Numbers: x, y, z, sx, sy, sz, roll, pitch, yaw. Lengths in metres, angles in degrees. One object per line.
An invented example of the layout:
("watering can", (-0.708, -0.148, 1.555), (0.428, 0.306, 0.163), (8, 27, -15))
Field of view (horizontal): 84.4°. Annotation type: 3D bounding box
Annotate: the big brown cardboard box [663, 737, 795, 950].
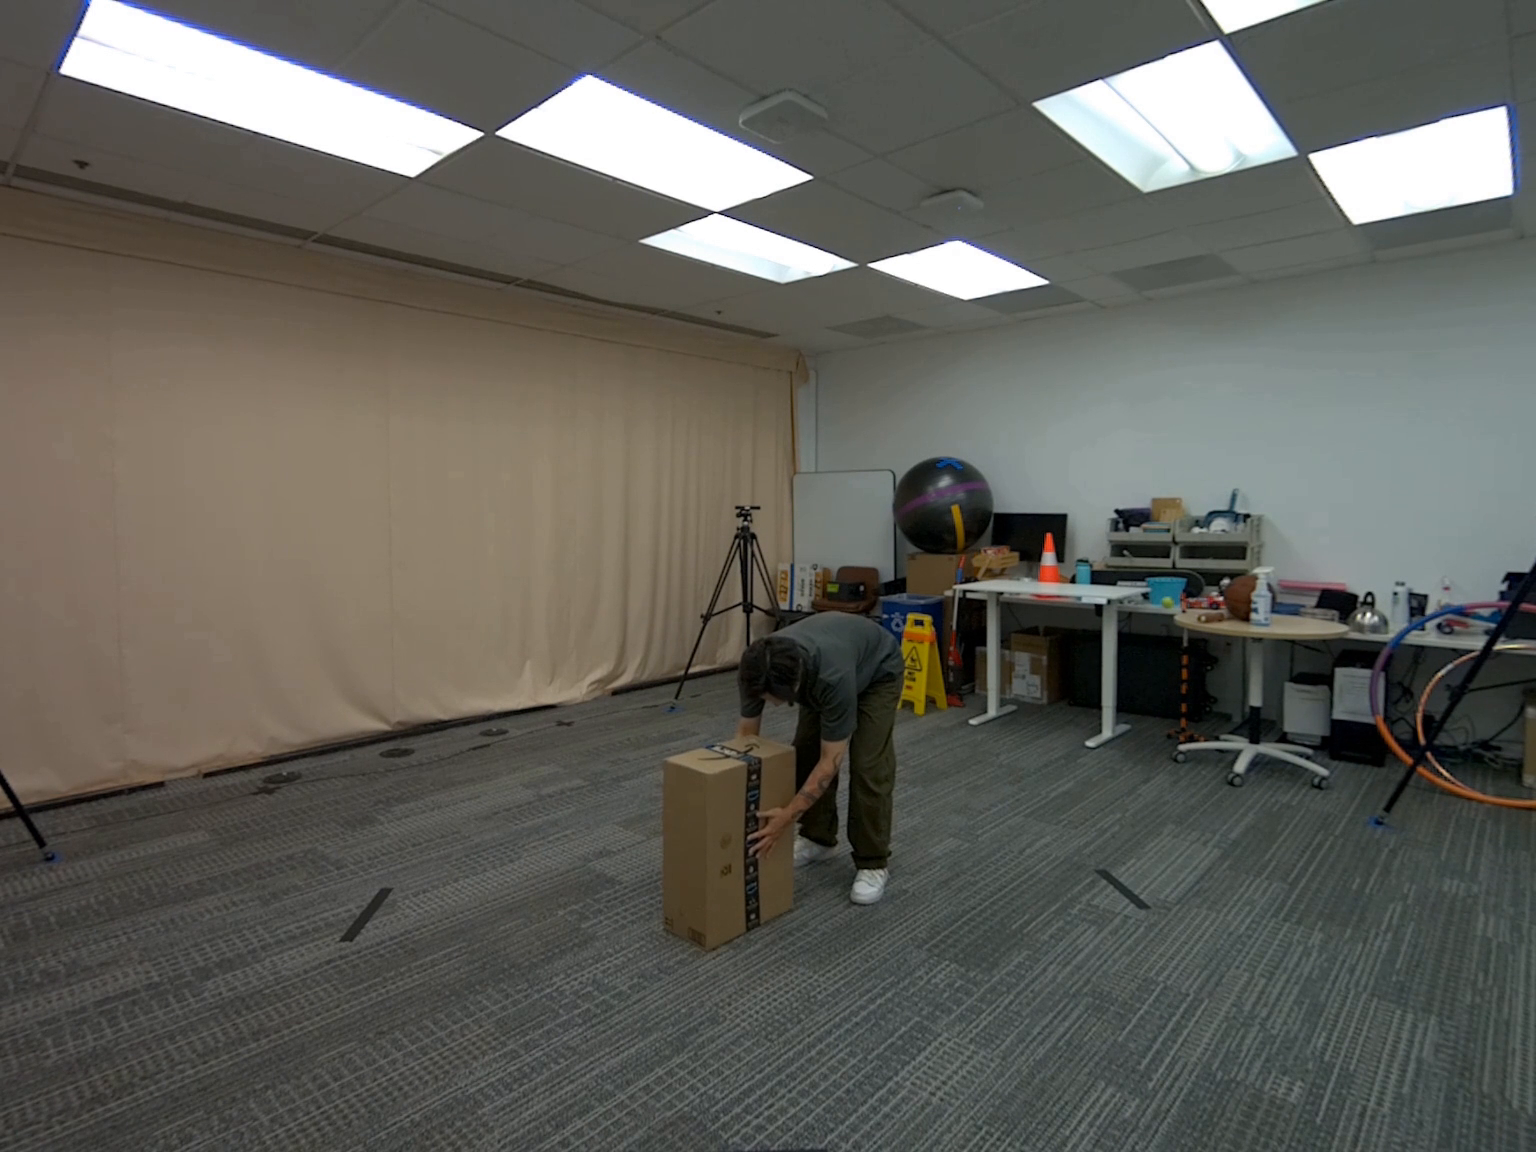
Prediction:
("big brown cardboard box", (-0.128, 0.870, 2.828), (0.241, 0.588, 0.404), (2, 3, 45))
